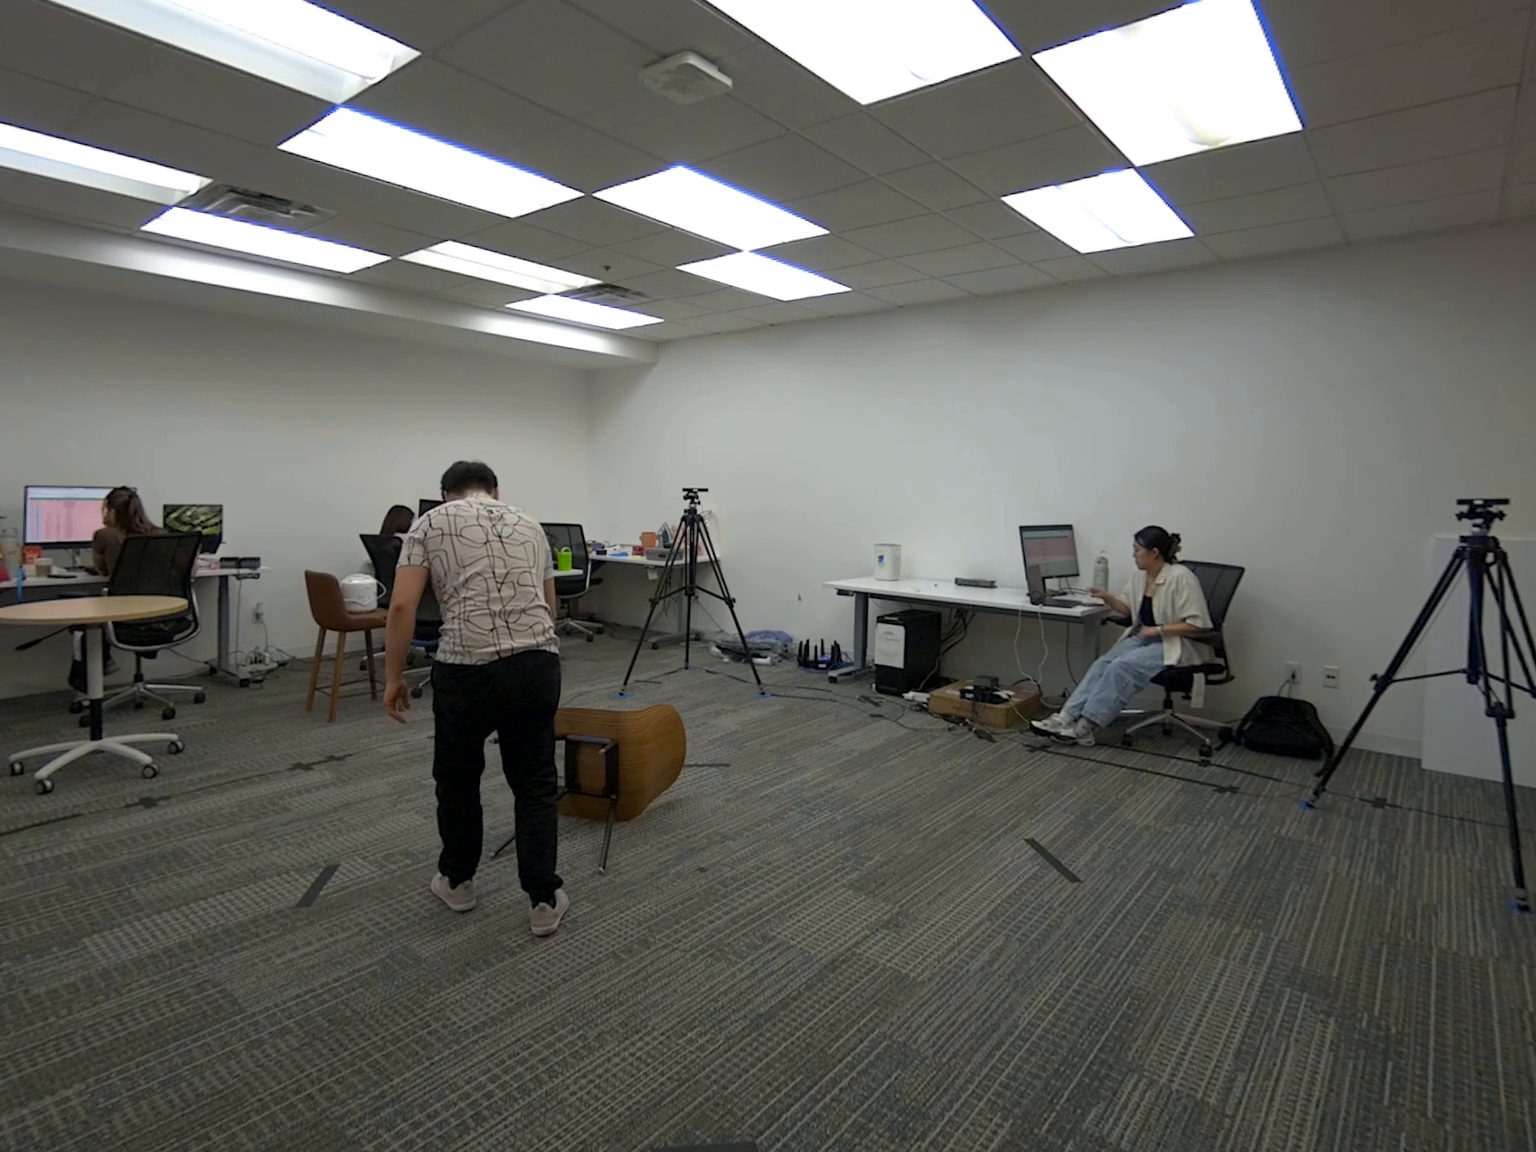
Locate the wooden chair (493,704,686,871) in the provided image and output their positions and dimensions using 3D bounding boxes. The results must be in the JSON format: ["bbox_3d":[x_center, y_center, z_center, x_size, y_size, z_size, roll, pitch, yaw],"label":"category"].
[{"bbox_3d":[-0.750,0.794,3.514,0.533,0.476,0.865,2,6,16],"label":"wooden chair"}]
